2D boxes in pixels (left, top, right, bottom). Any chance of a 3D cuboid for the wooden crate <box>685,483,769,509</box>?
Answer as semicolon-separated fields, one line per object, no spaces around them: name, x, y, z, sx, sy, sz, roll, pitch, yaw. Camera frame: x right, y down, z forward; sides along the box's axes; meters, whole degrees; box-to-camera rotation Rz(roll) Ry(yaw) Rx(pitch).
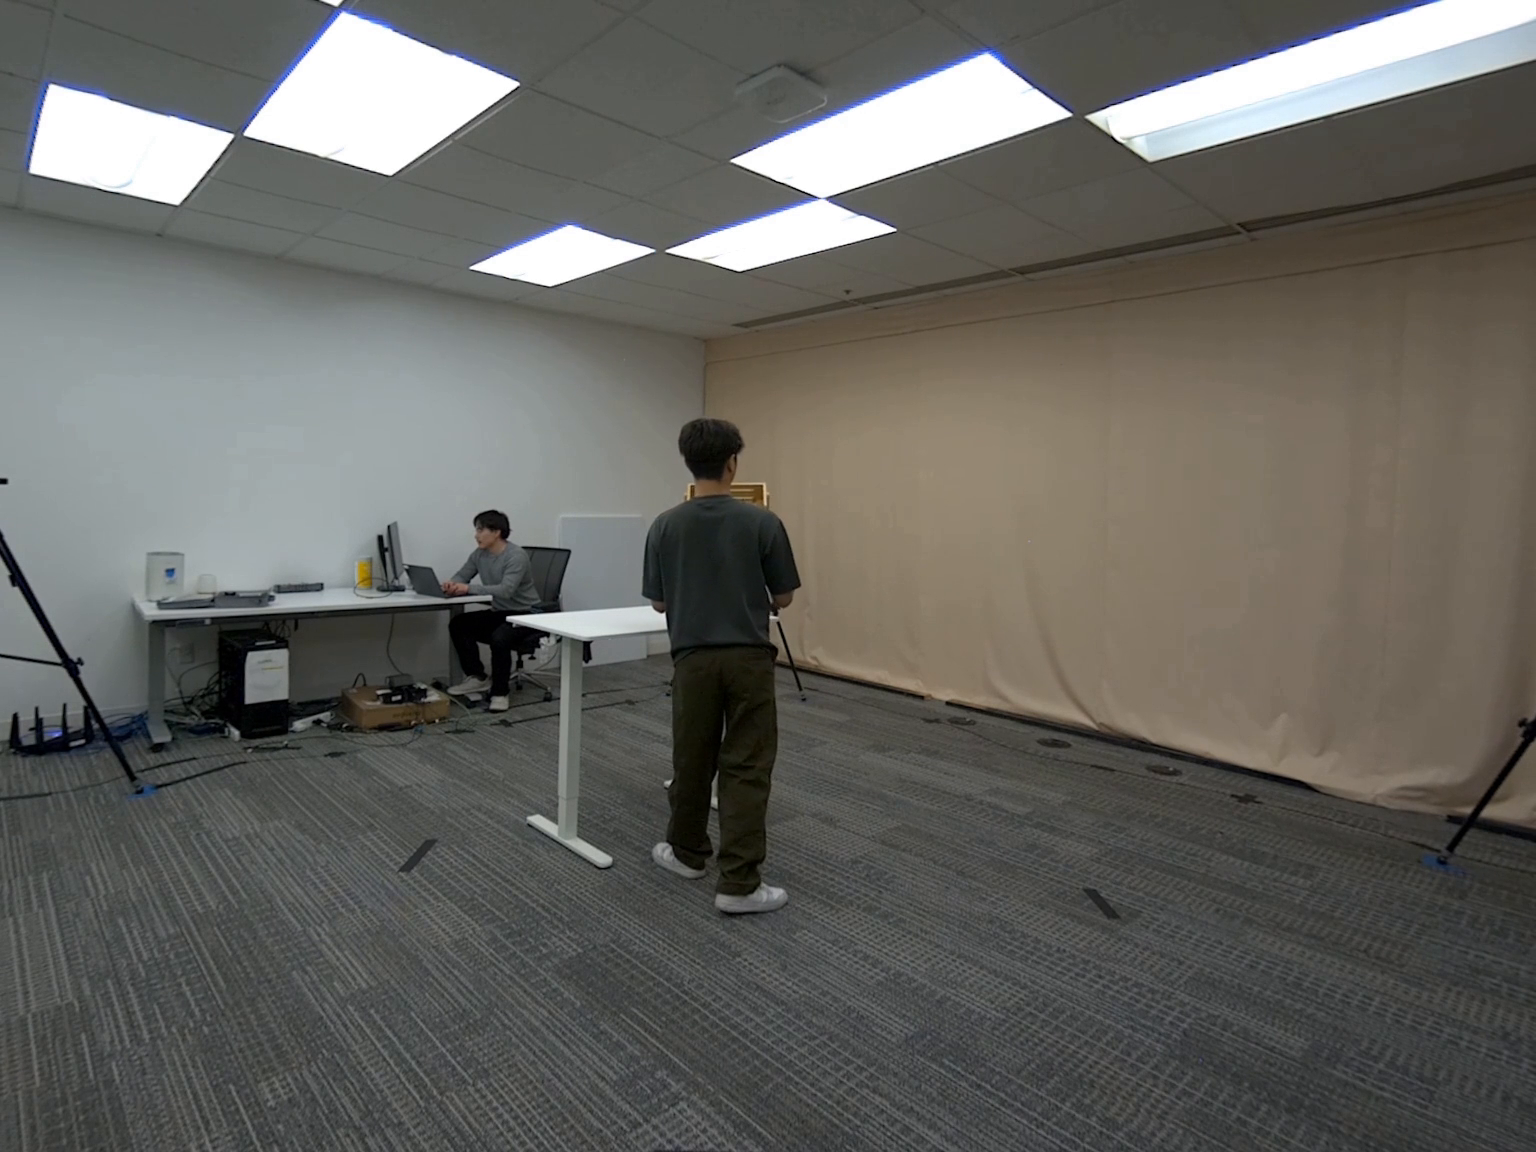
wooden crate;-0.158;-0.161;3.230;0.325;0.267;0.308;0;41;1
